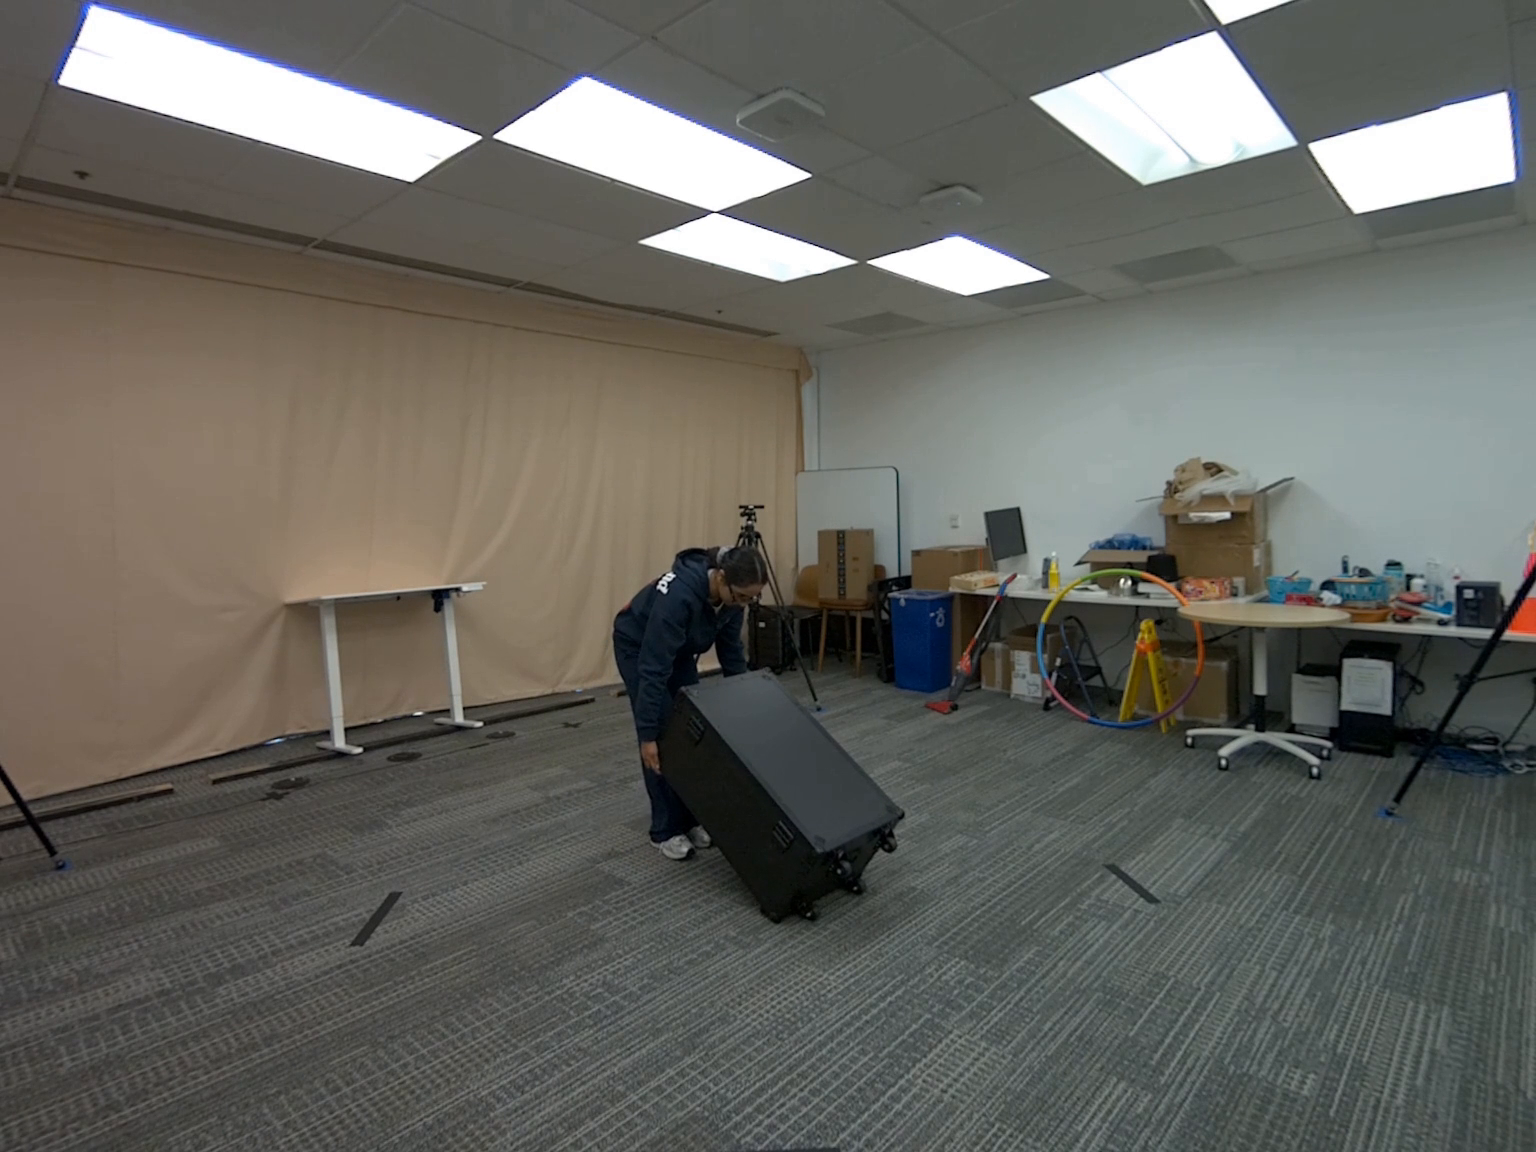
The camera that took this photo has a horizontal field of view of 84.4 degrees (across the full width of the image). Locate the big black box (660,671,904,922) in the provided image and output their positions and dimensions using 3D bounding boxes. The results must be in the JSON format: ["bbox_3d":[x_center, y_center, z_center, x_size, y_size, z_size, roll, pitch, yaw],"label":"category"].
[{"bbox_3d":[0.031,0.793,3.086,0.505,0.395,0.890,-4,39,-46],"label":"big black box"}]
